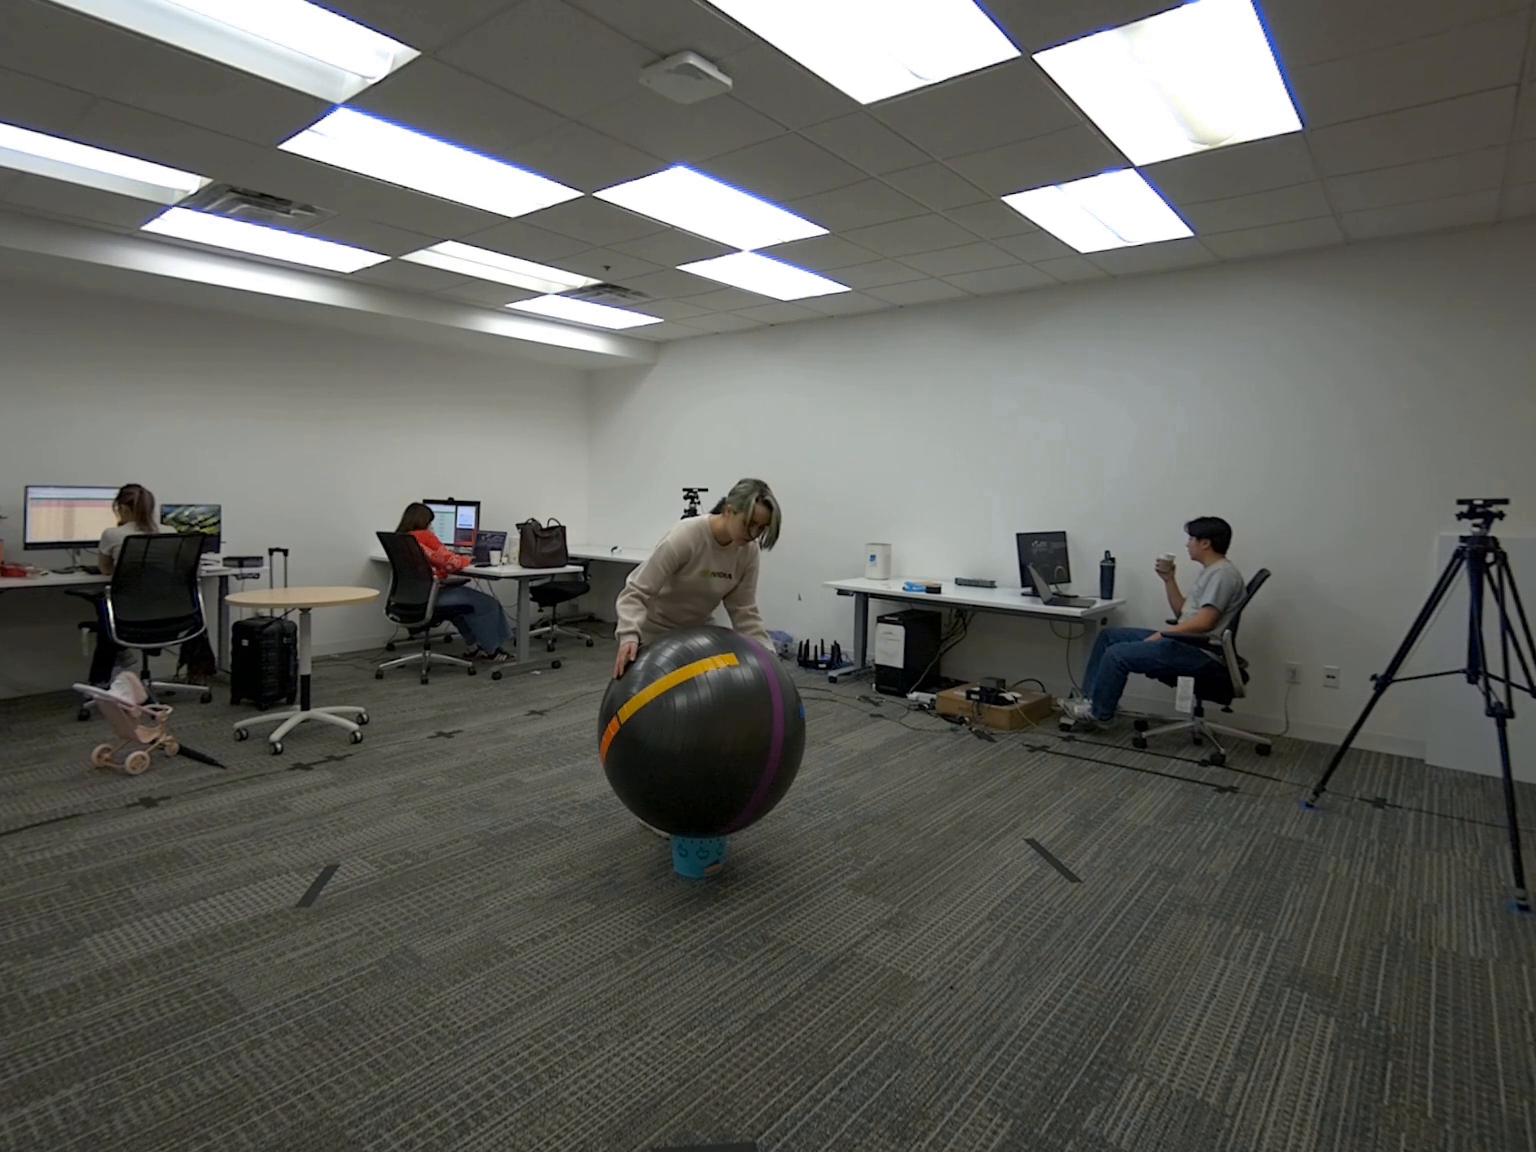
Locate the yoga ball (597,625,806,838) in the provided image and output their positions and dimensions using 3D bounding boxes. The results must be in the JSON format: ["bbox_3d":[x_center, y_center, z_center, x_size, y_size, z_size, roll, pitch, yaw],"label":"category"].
[{"bbox_3d":[-0.250,0.560,3.108,0.757,0.756,0.762,1,4,-2],"label":"yoga ball"}]
